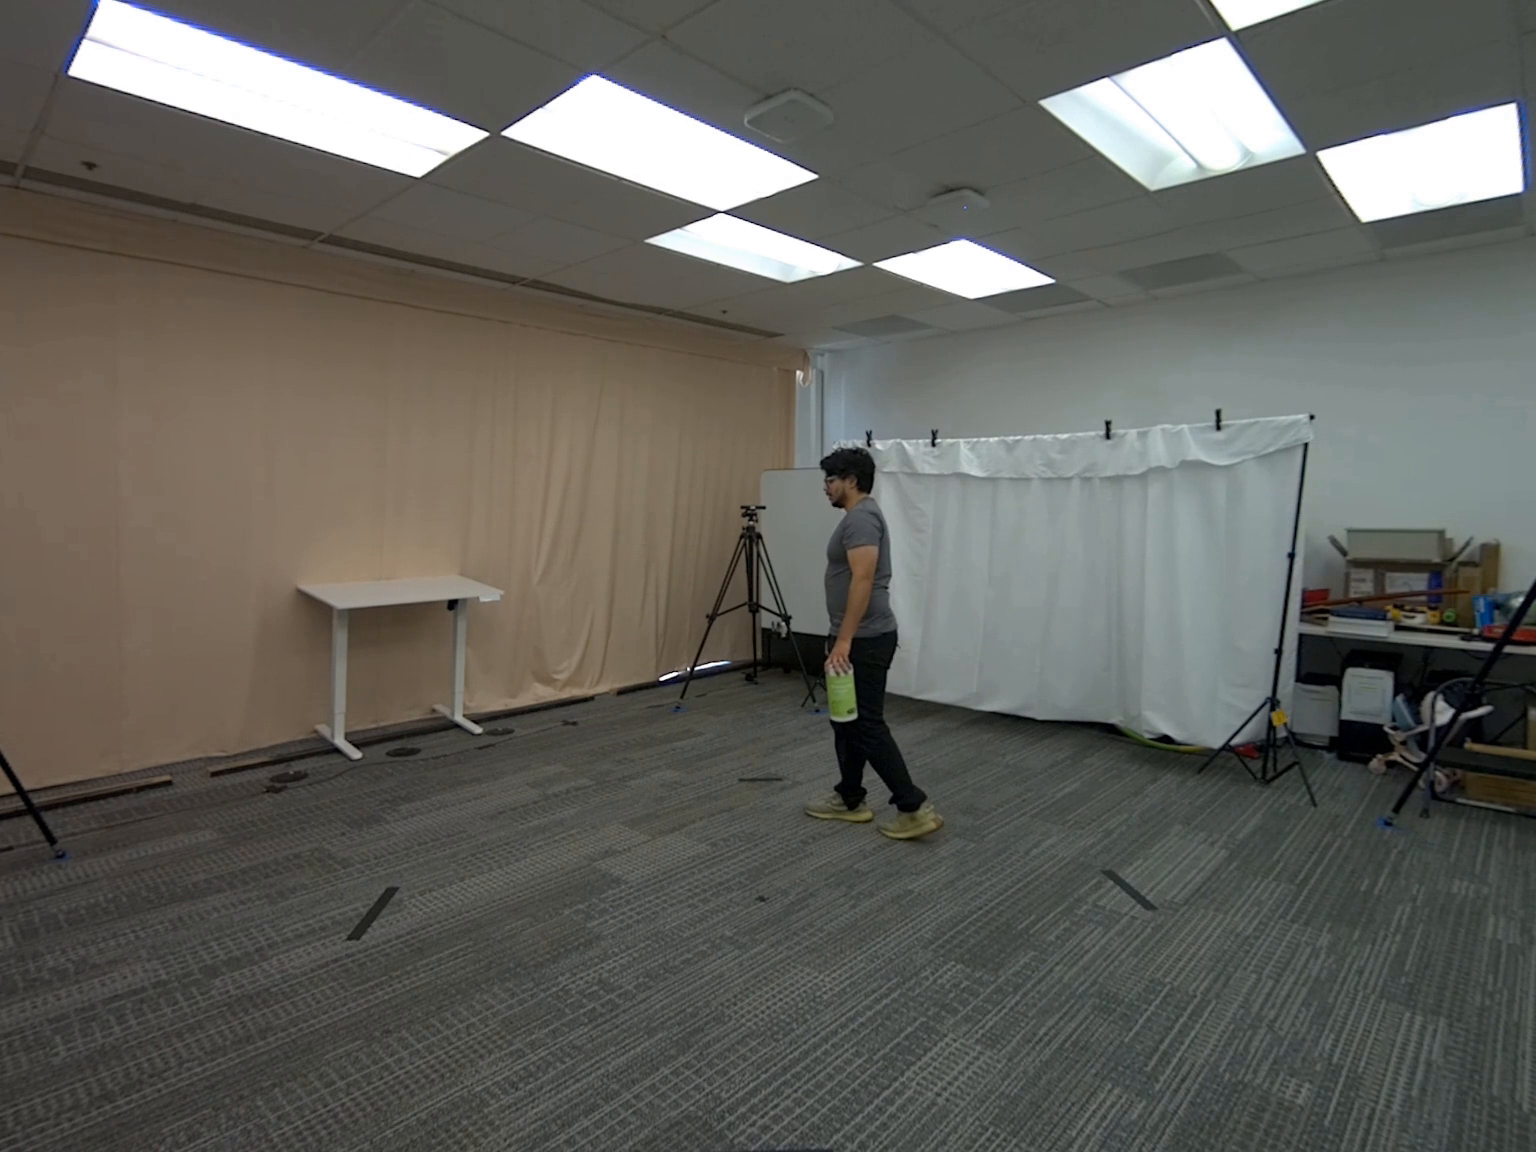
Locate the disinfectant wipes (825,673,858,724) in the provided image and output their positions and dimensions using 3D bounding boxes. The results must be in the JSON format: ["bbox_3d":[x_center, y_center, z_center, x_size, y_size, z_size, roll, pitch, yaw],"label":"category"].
[{"bbox_3d":[0.291,0.464,3.349,0.118,0.217,0.118,-5,5,-1],"label":"disinfectant wipes"}]
